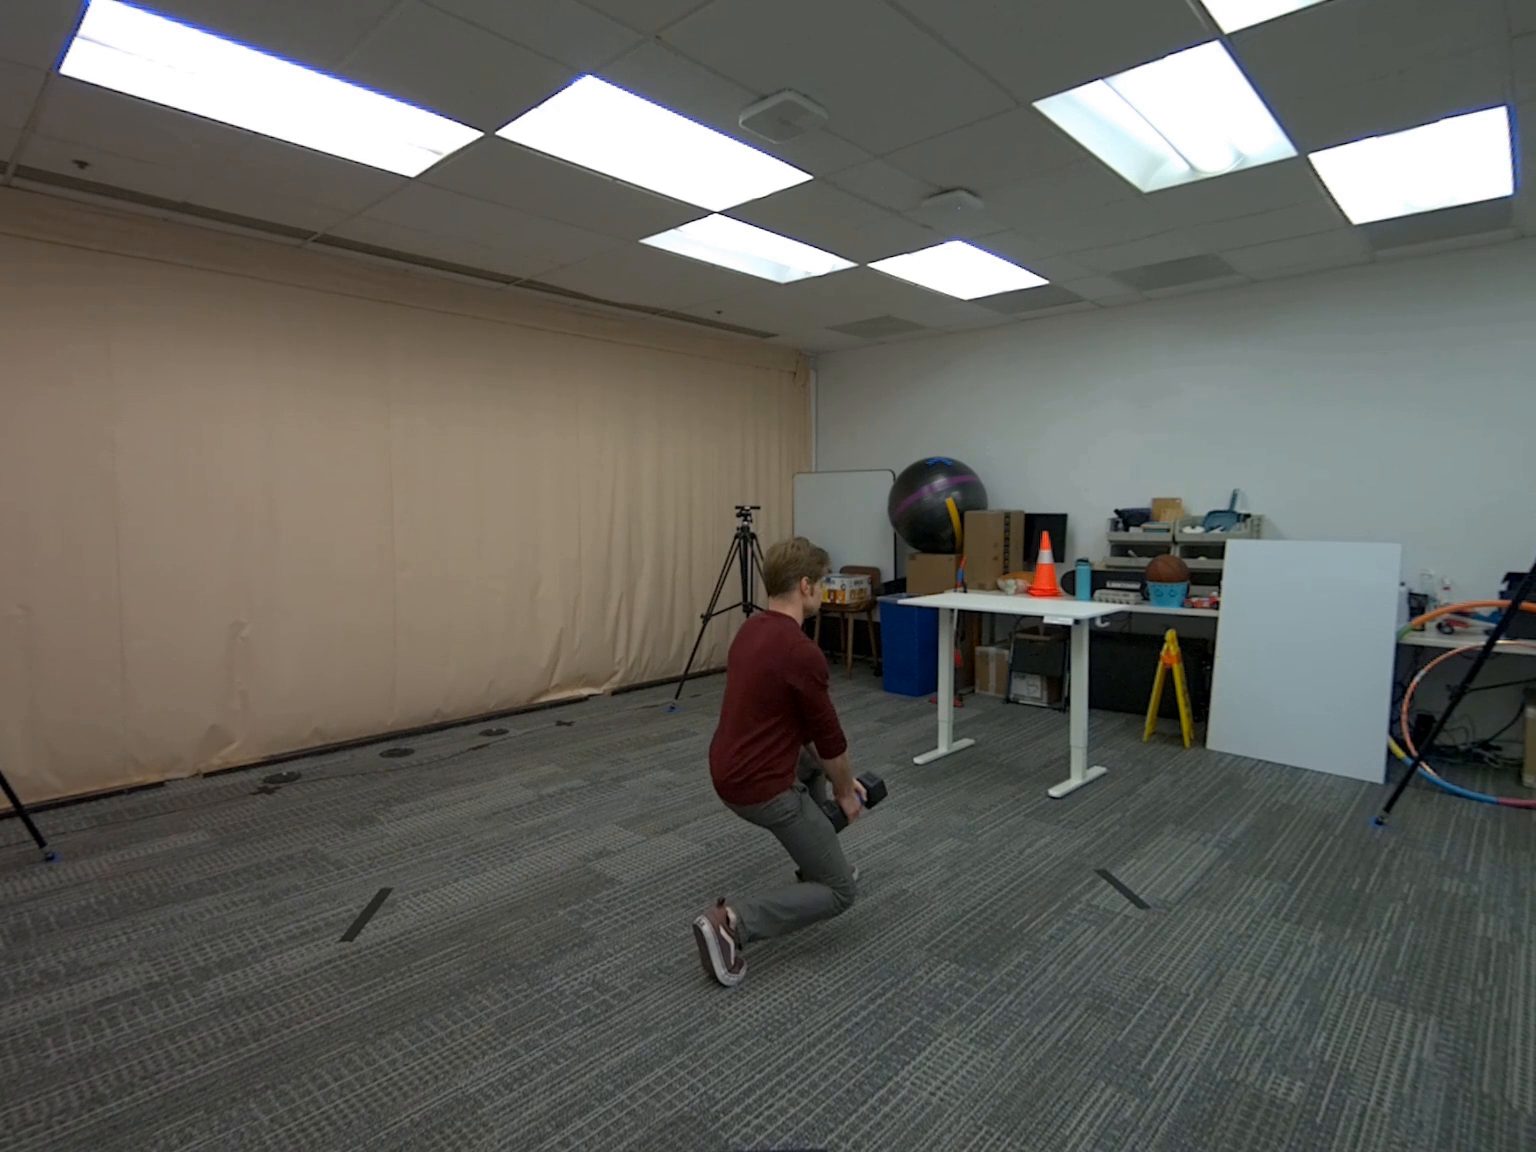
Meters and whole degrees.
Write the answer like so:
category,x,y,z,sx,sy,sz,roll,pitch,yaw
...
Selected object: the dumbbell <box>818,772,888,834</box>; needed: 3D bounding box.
category,x,y,z,sx,sy,sz,roll,pitch,yaw
dumbbell,0.286,0.779,2.902,0.287,0.111,0.123,-22,-26,-35
